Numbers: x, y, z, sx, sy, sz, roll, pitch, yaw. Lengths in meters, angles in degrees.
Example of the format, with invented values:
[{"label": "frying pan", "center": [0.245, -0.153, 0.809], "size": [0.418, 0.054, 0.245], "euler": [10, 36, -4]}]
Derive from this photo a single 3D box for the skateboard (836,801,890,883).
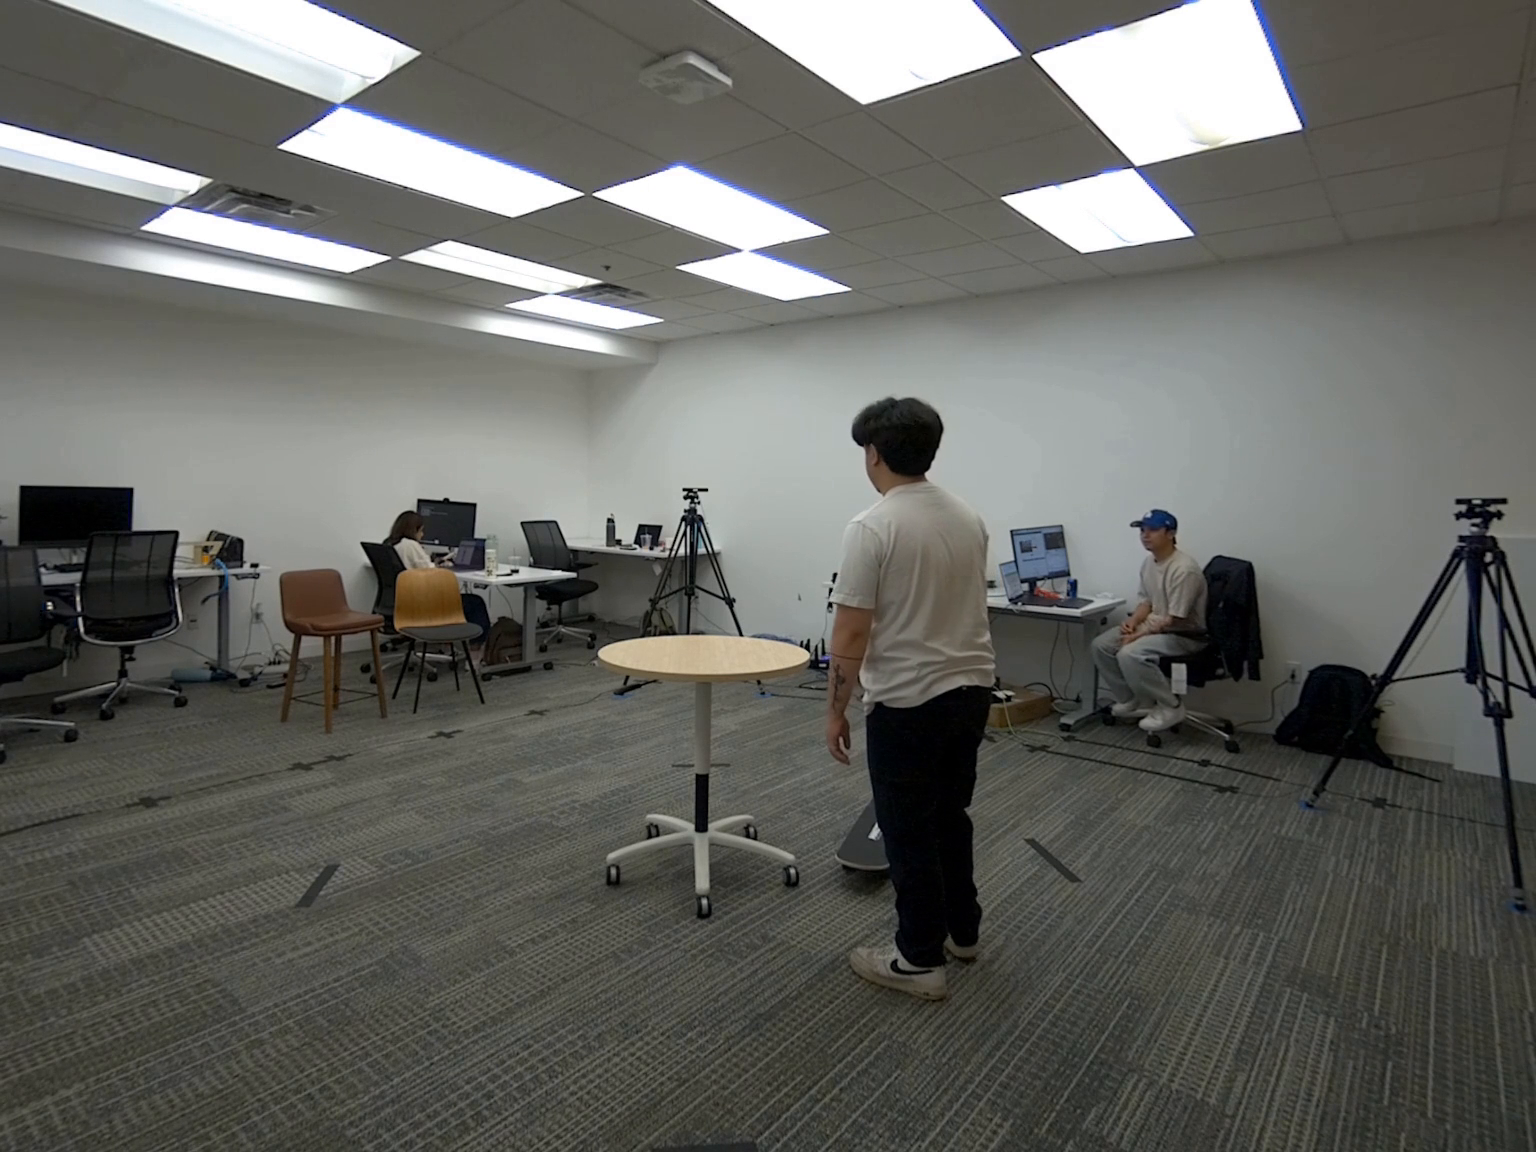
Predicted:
[{"label": "skateboard", "center": [0.418, 1.005, 3.294], "size": [0.197, 0.110, 0.772], "euler": [3, 6, 19]}]
